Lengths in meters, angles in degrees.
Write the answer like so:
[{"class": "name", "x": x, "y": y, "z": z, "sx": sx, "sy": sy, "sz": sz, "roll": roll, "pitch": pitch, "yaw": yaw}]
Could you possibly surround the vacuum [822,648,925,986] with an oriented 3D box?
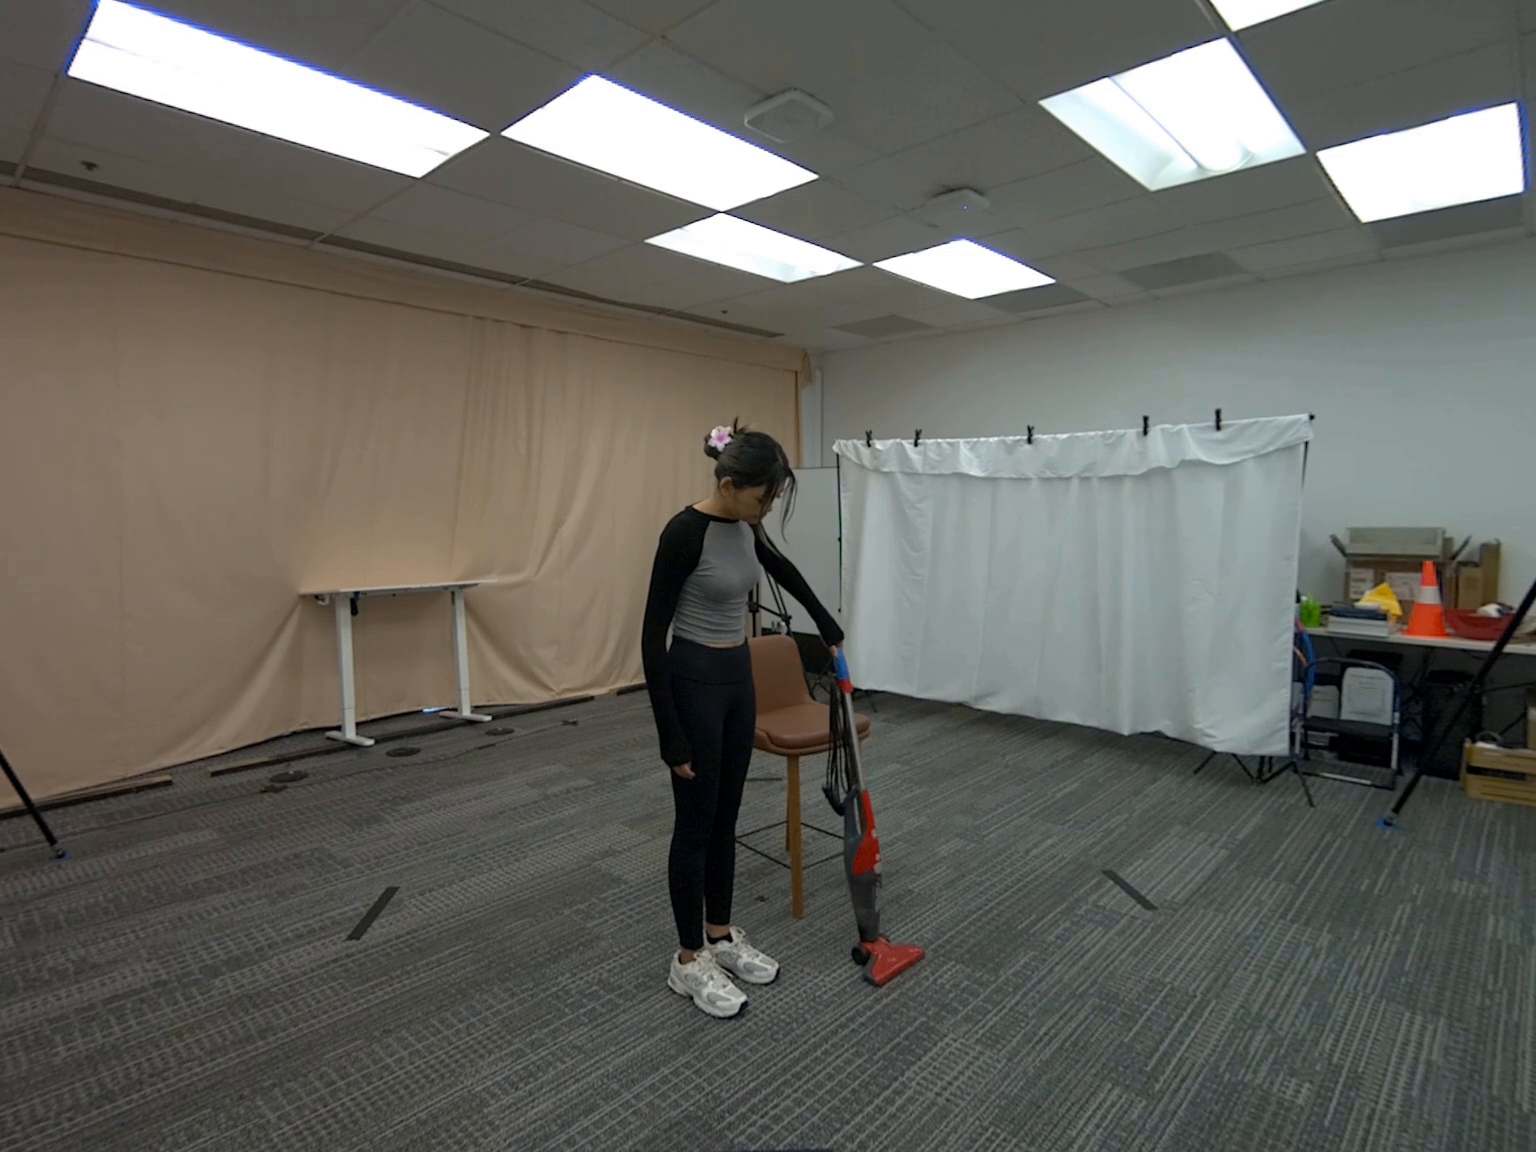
[{"class": "vacuum", "x": 0.272, "y": 0.667, "z": 2.637, "sx": 0.245, "sy": 1.056, "sz": 0.147, "roll": -2, "pitch": -11, "yaw": -46}]
